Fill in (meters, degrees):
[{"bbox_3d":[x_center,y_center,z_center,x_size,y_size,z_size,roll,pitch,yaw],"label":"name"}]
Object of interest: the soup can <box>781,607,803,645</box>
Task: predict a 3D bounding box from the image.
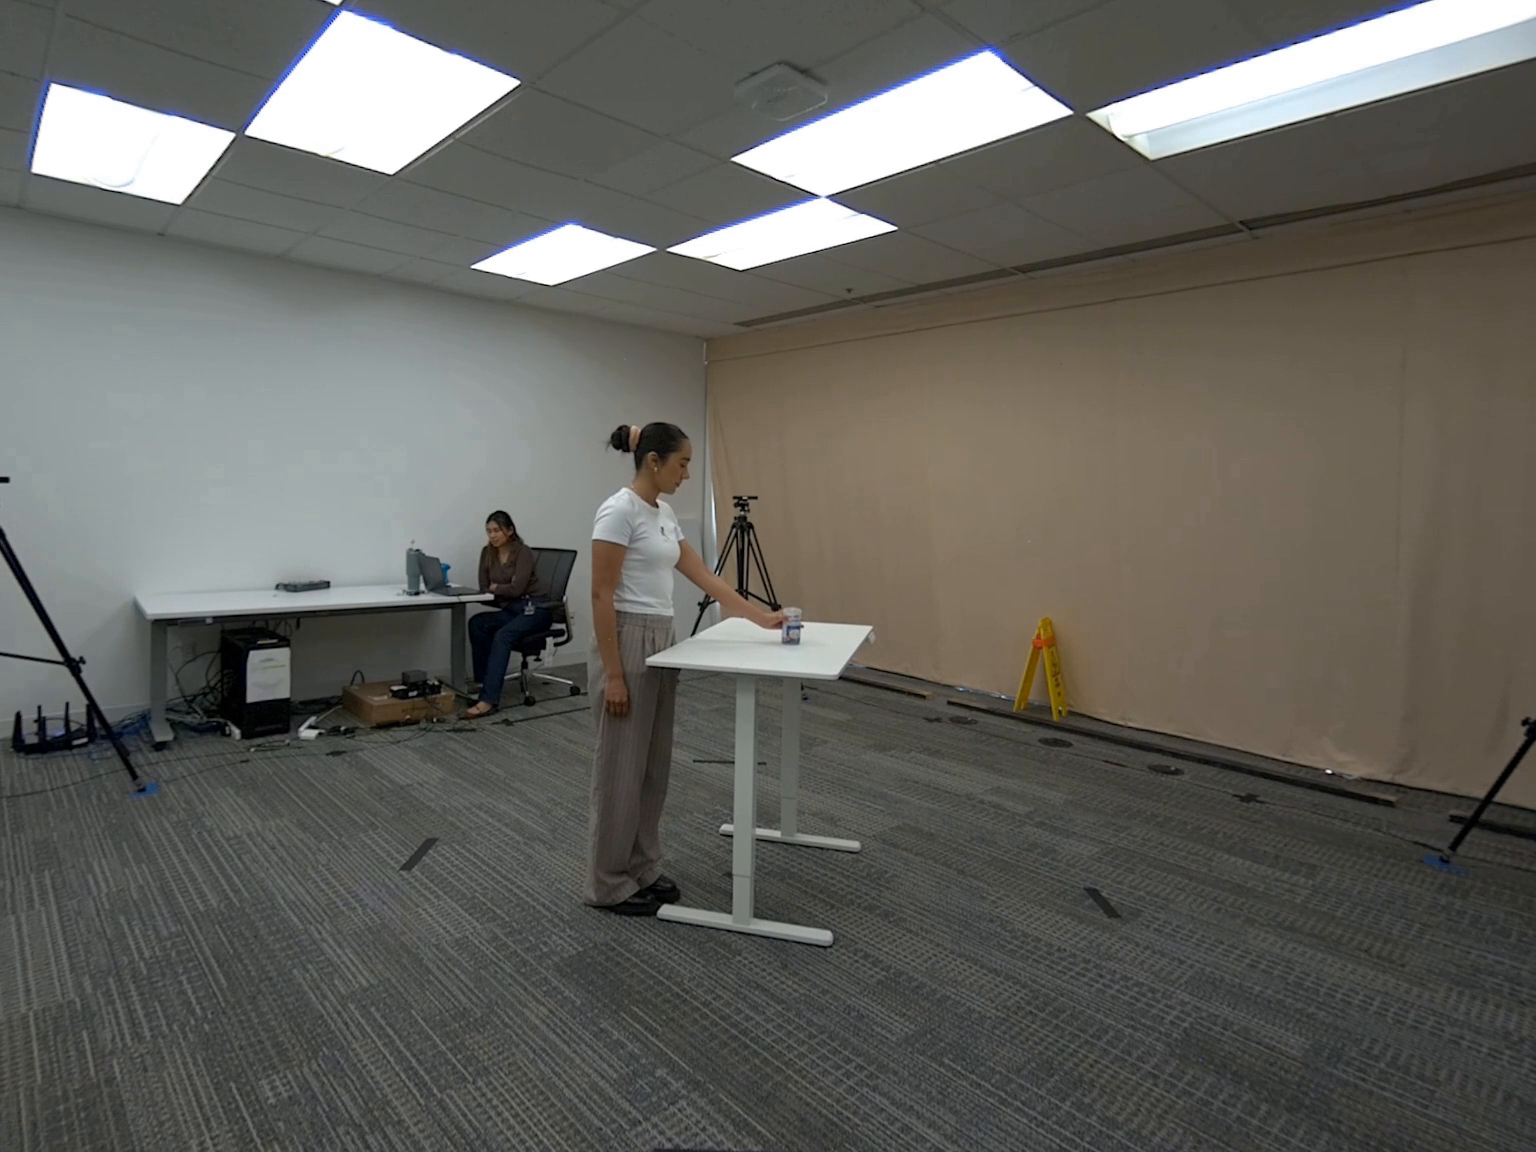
[{"bbox_3d":[0.073,0.178,2.960,0.067,0.121,0.067,2,6,-2],"label":"soup can"}]
